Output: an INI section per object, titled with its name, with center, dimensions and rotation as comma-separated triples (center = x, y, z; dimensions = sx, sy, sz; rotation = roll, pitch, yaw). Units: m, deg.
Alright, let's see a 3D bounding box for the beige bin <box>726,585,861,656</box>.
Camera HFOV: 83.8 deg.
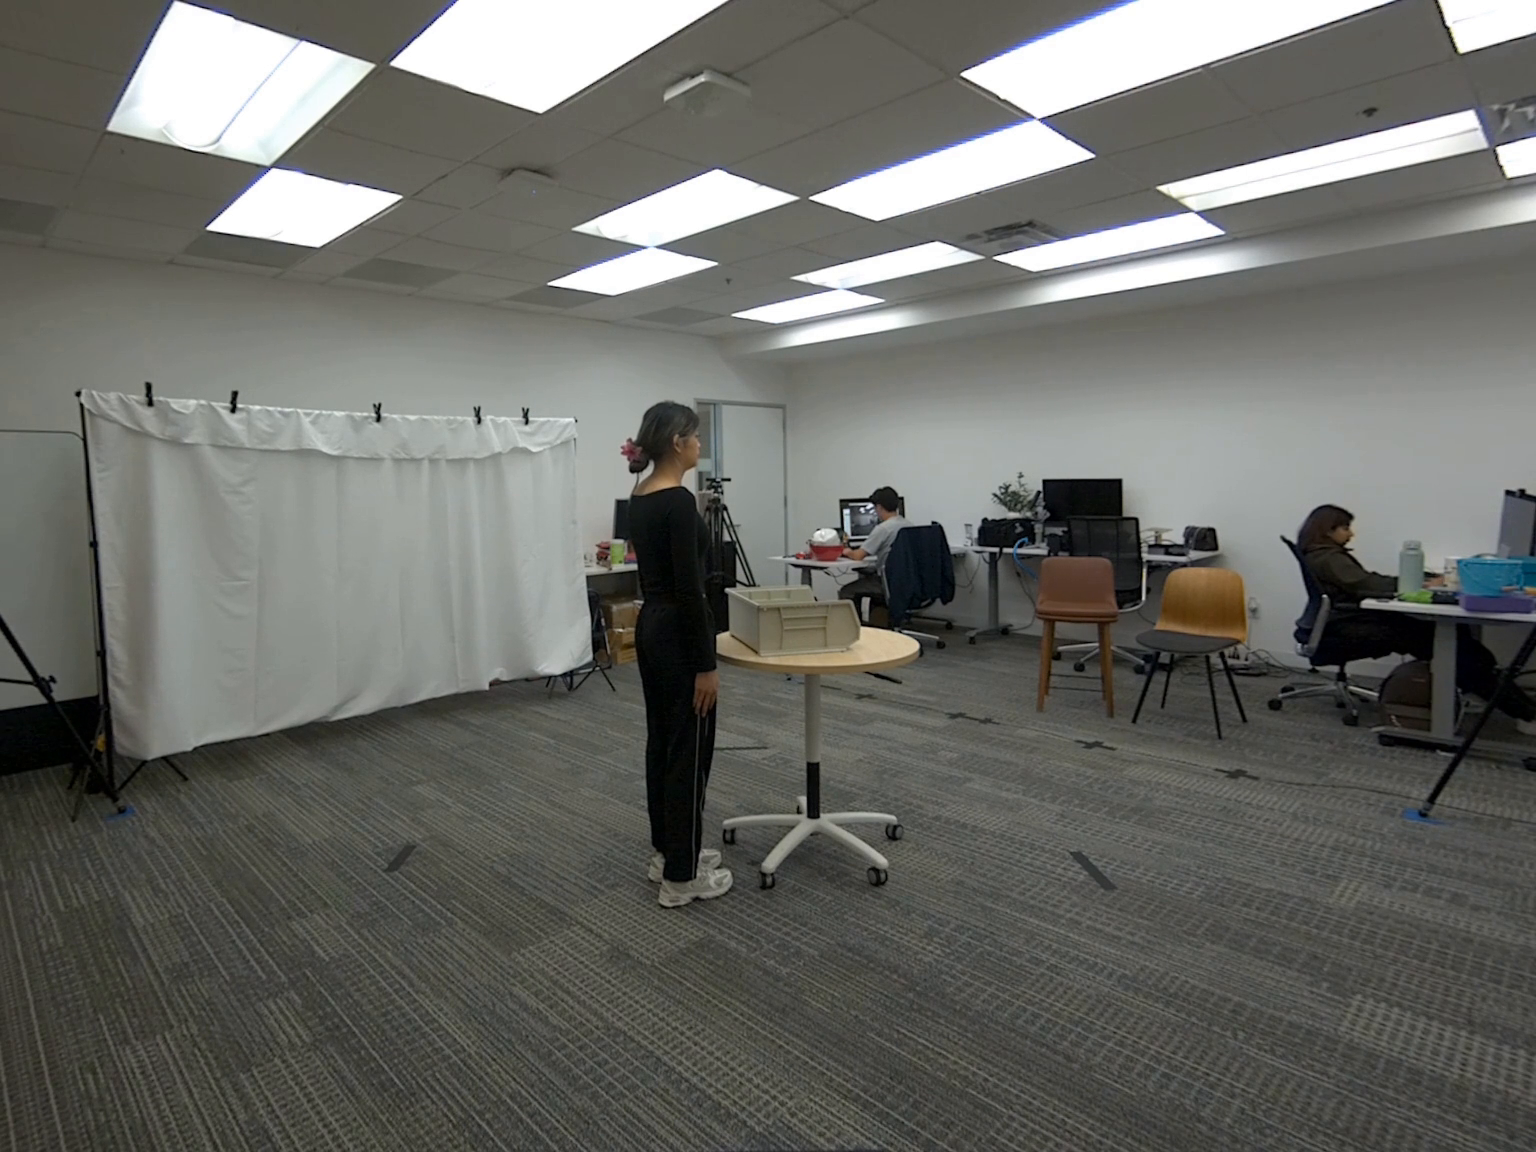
[beige bin]
center = 0.079, 0.155, 3.116
dimensions = 0.372, 0.188, 0.431
rotation = -3, 7, -16
